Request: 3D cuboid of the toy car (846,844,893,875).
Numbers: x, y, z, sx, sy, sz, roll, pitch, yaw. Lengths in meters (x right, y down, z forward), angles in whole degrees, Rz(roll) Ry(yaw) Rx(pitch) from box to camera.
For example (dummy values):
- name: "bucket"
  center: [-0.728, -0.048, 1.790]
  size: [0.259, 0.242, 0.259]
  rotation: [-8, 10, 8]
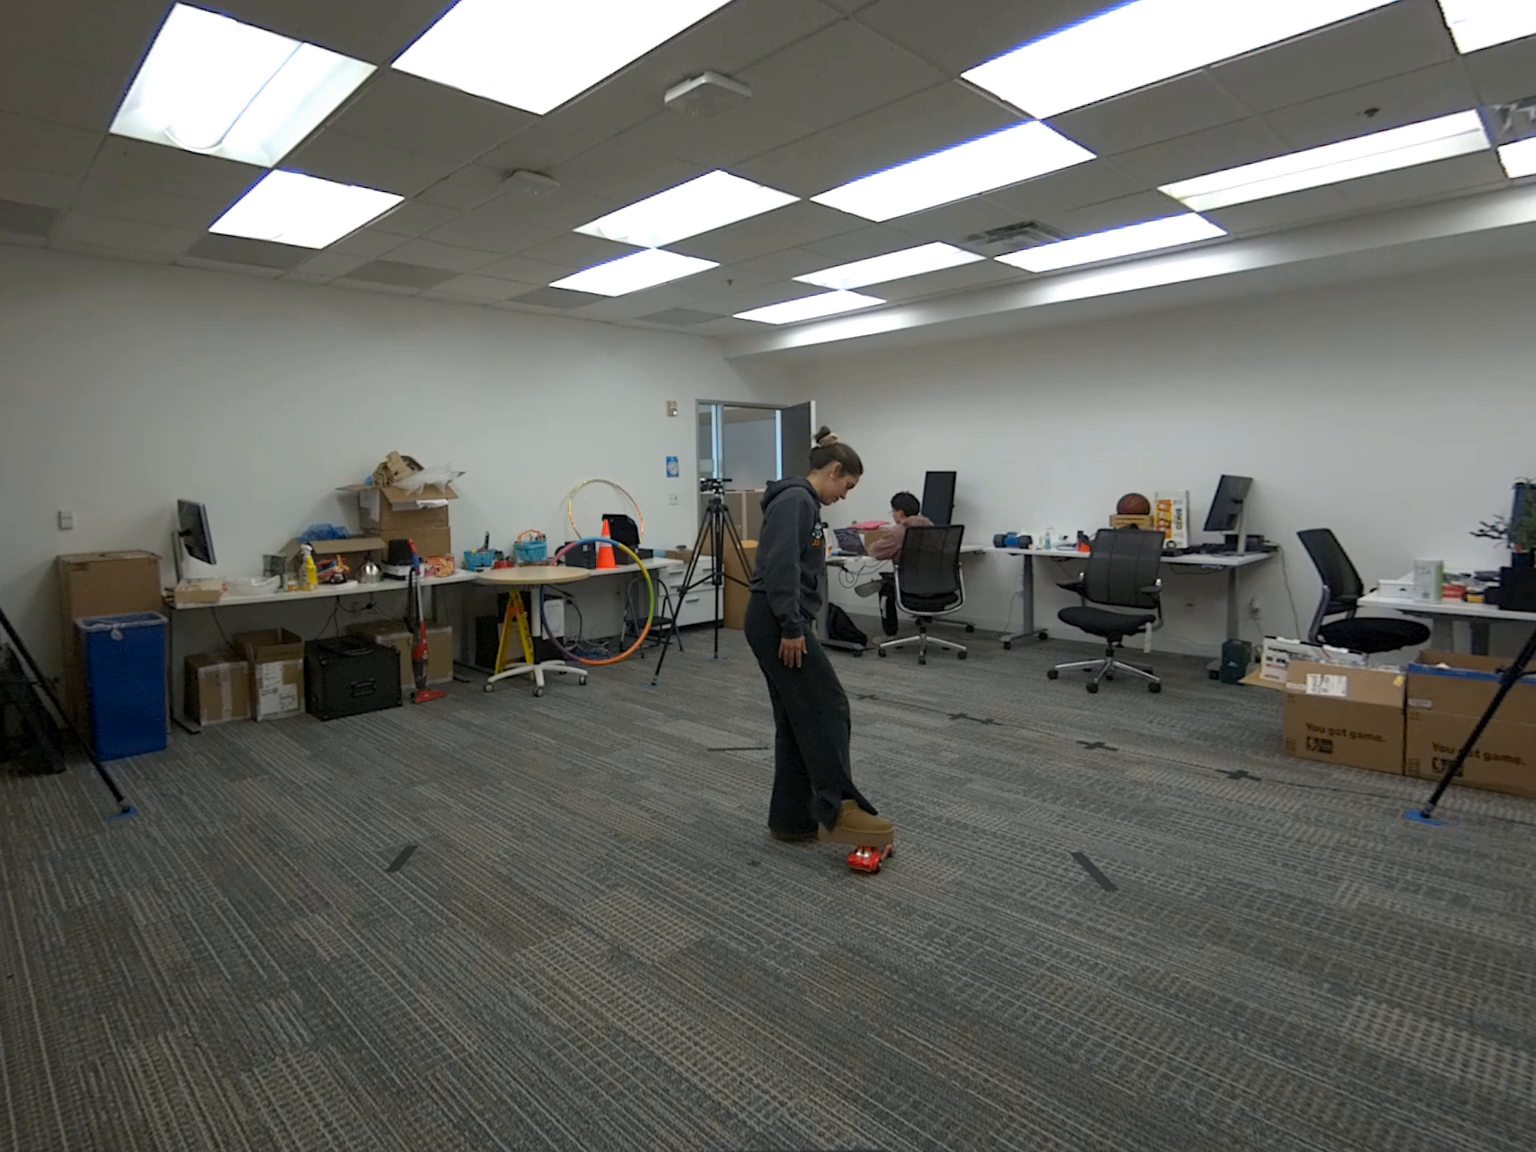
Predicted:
- name: "toy car"
  center: [0.373, 1.010, 3.079]
  size: [0.133, 0.083, 0.247]
  rotation: [2, -4, 27]
